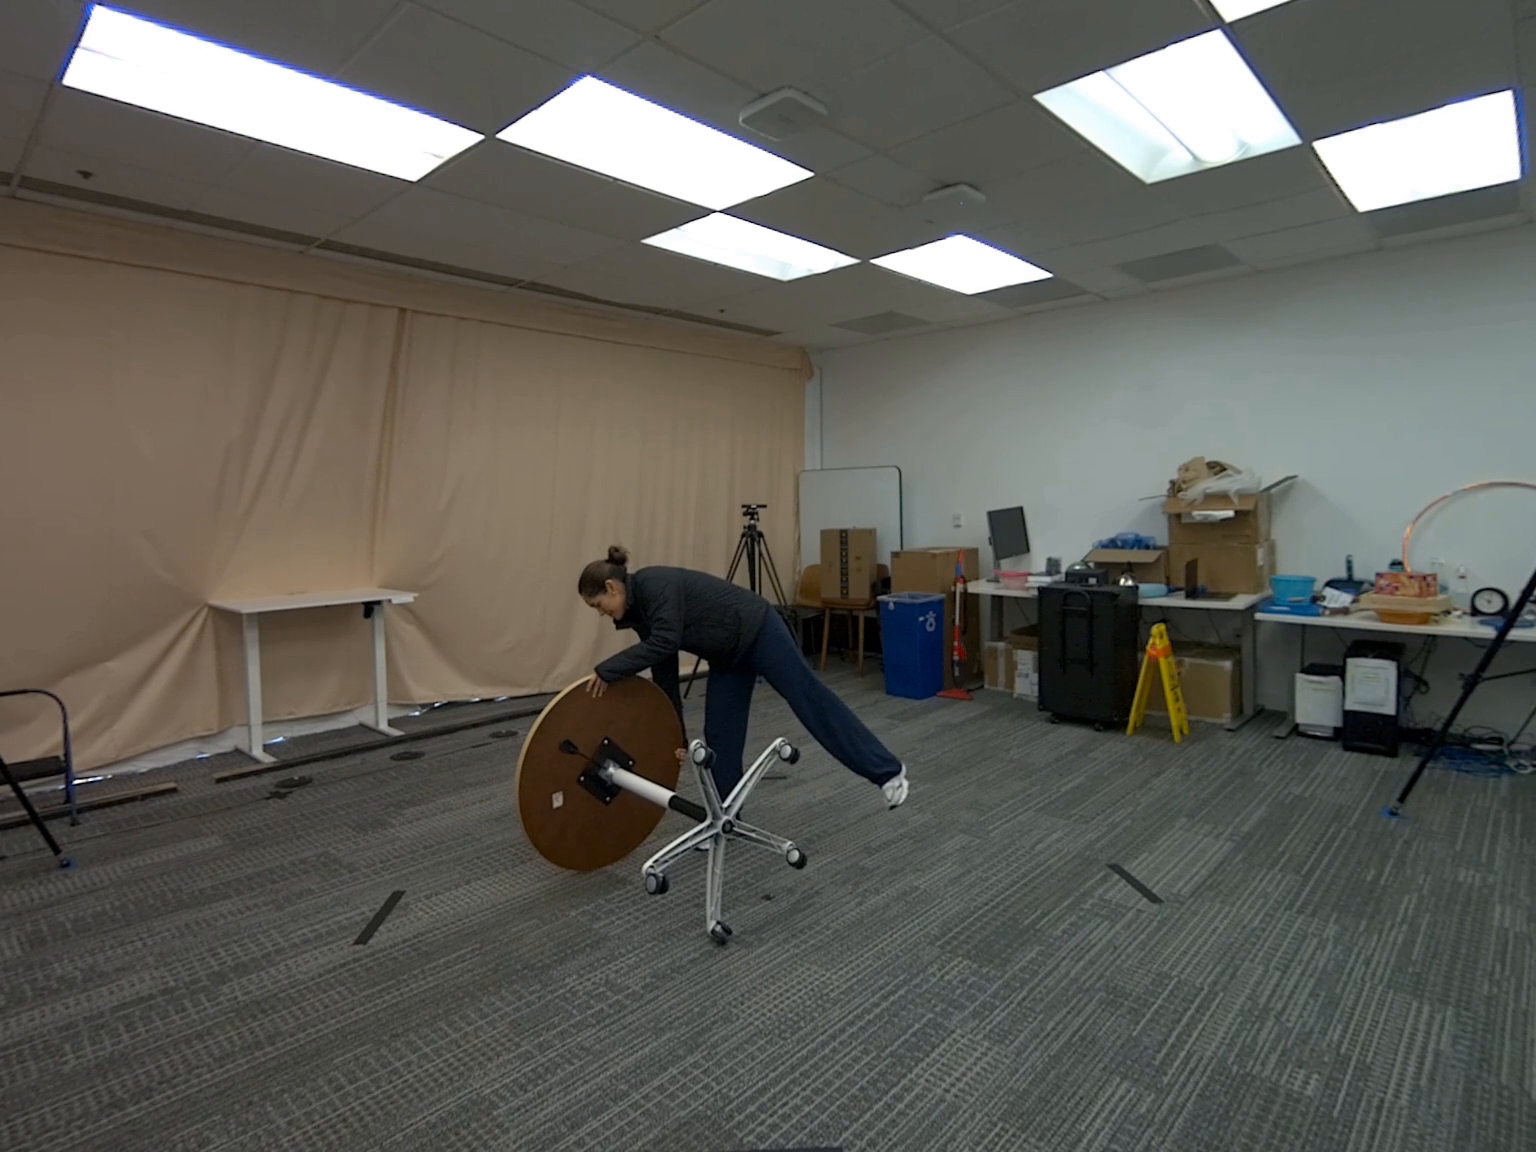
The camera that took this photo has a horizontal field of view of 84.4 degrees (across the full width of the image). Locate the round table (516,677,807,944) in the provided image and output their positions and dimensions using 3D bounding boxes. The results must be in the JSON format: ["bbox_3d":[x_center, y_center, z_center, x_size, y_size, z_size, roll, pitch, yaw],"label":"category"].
[{"bbox_3d":[-0.342,0.778,2.971,0.813,0.783,0.761,5,7,45],"label":"round table"}]
